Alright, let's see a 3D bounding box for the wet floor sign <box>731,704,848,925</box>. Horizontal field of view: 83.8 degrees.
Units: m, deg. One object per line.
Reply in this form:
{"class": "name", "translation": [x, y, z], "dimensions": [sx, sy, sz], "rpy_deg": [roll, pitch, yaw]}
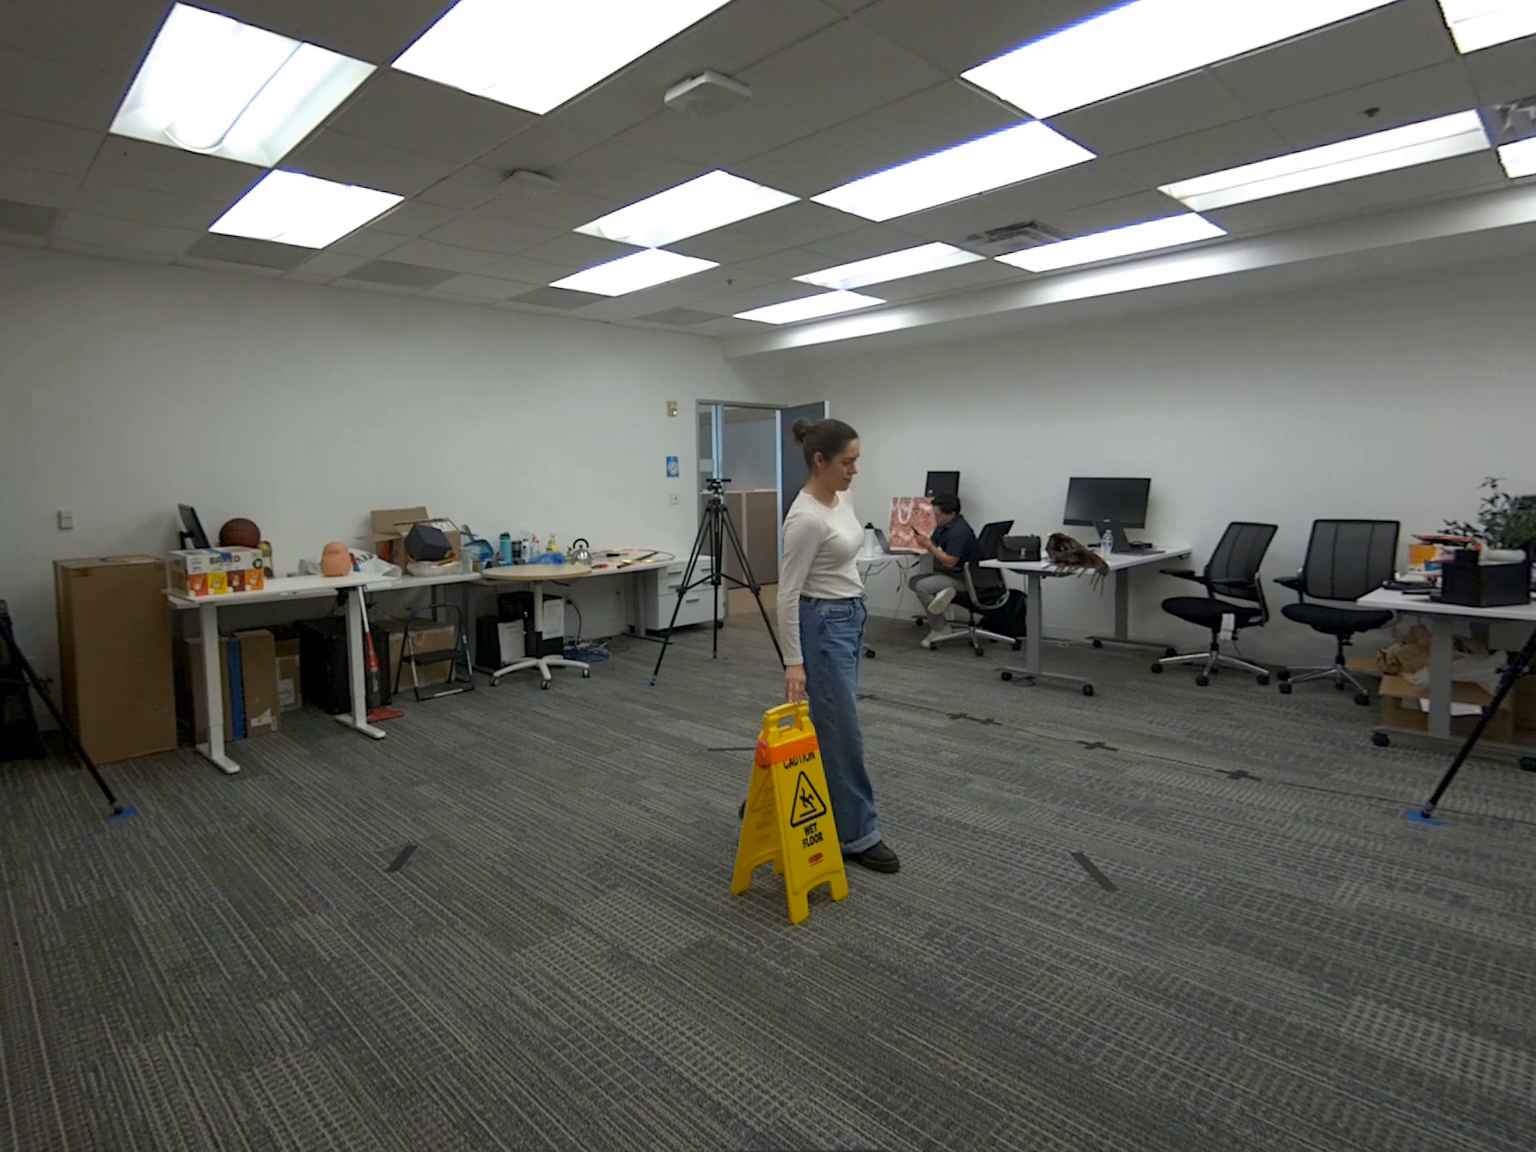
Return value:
{"class": "wet floor sign", "translation": [0.071, 0.748, 2.845], "dimensions": [0.275, 0.643, 0.299], "rpy_deg": [-6, 7, -45]}
